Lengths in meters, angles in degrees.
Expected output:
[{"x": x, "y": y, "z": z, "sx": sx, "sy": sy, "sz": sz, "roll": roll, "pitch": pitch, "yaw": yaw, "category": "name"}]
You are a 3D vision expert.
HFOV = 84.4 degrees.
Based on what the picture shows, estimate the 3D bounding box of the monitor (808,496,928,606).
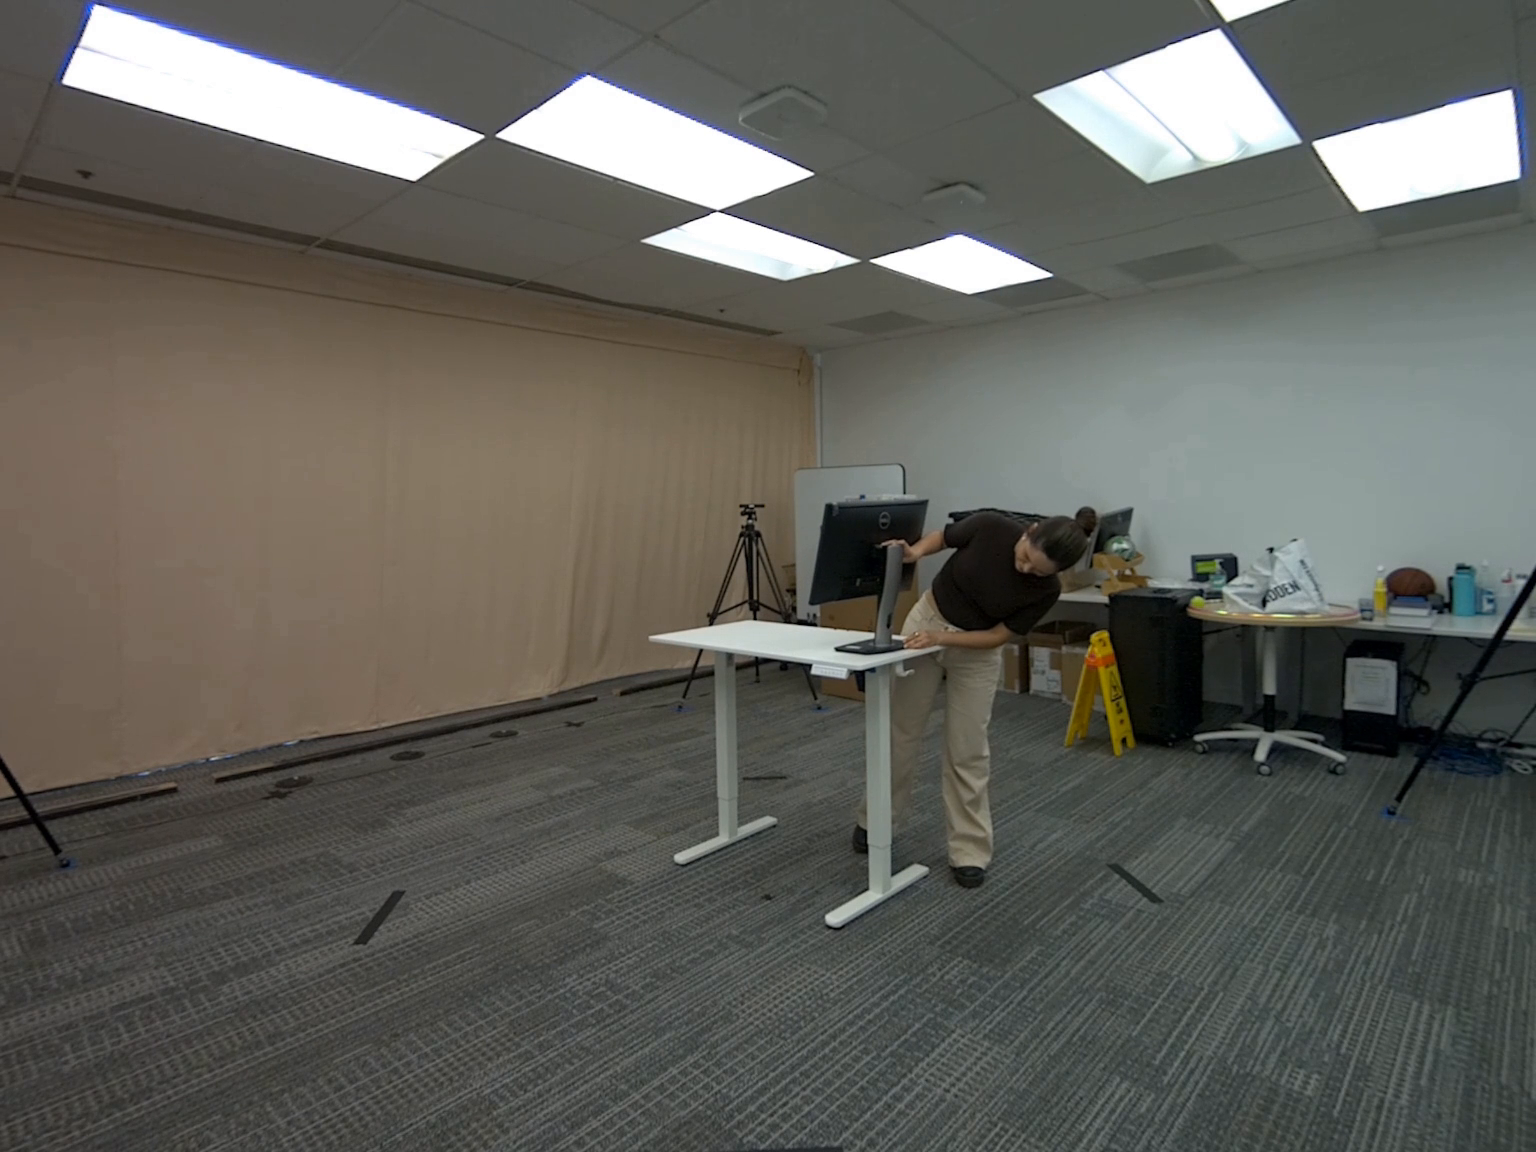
[{"x": 0.395, "y": 0.000, "z": 2.920, "sx": 0.523, "sy": 0.521, "sz": 0.193, "roll": -5, "pitch": 7, "yaw": -43, "category": "monitor"}]
